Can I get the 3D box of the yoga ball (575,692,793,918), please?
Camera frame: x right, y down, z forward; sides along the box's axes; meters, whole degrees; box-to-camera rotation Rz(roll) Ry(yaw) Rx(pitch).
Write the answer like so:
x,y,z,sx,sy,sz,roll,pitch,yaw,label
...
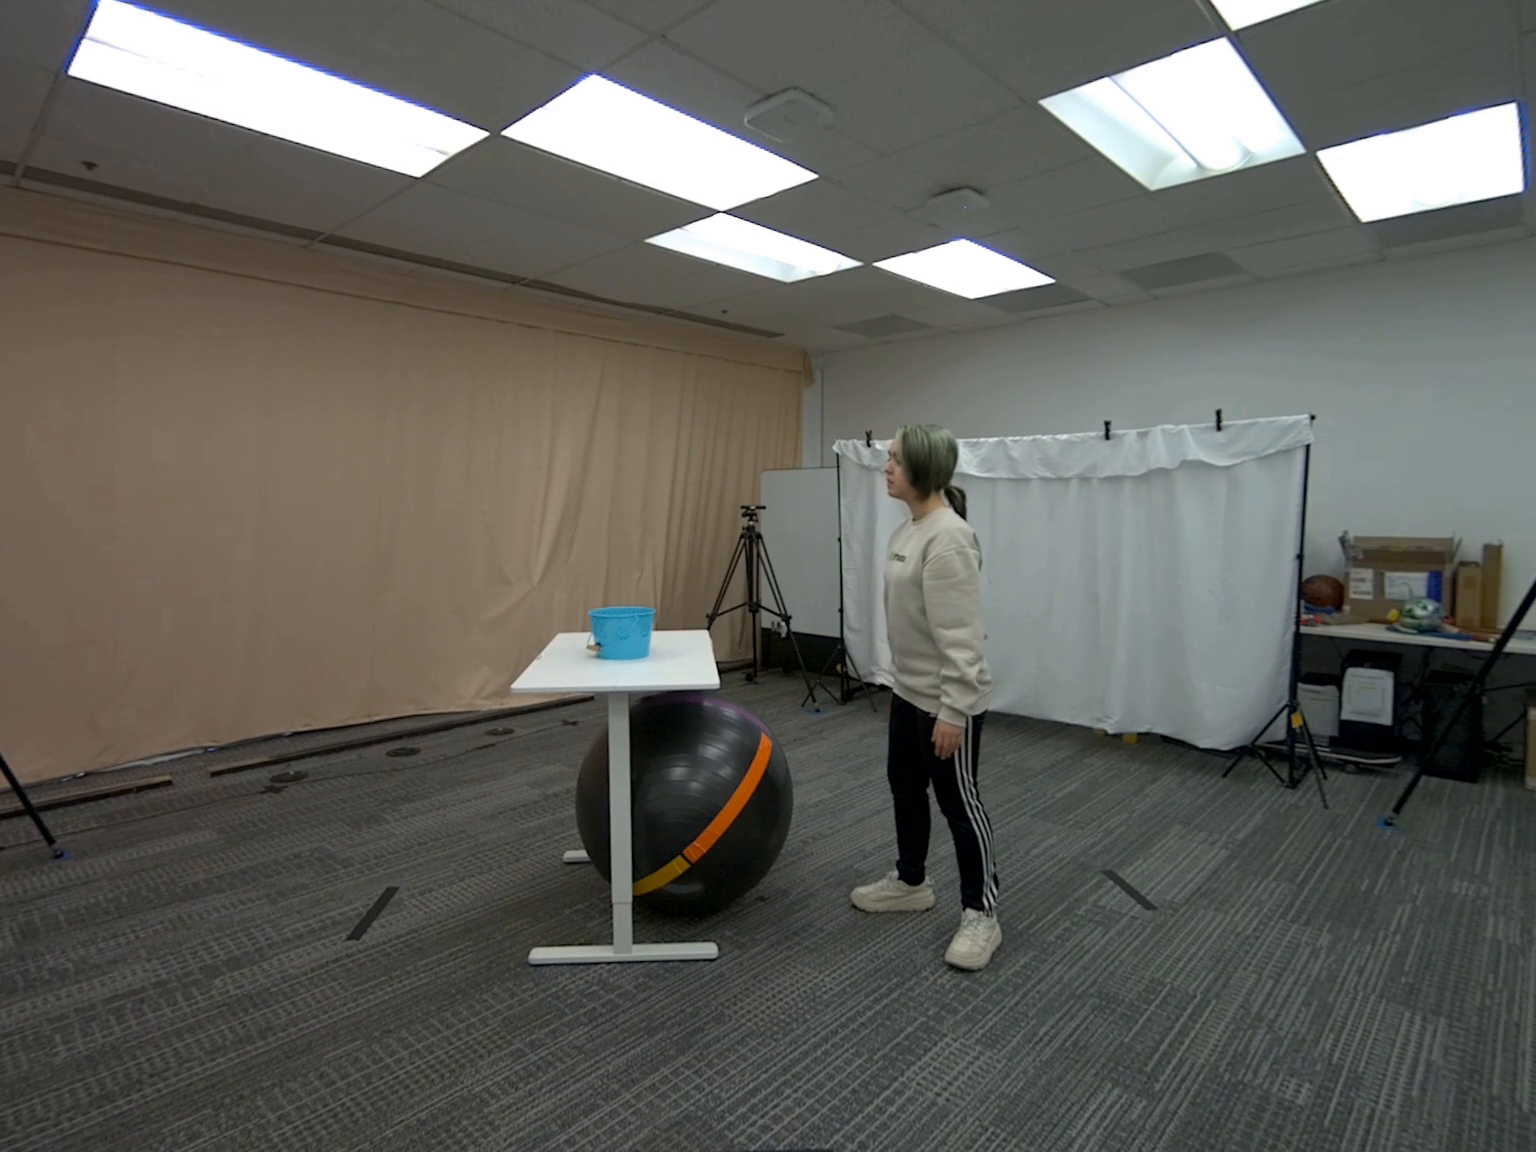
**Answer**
x,y,z,sx,sy,sz,roll,pitch,yaw,label
-0.291,0.778,2.952,0.757,0.756,0.760,0,4,-2,yoga ball
